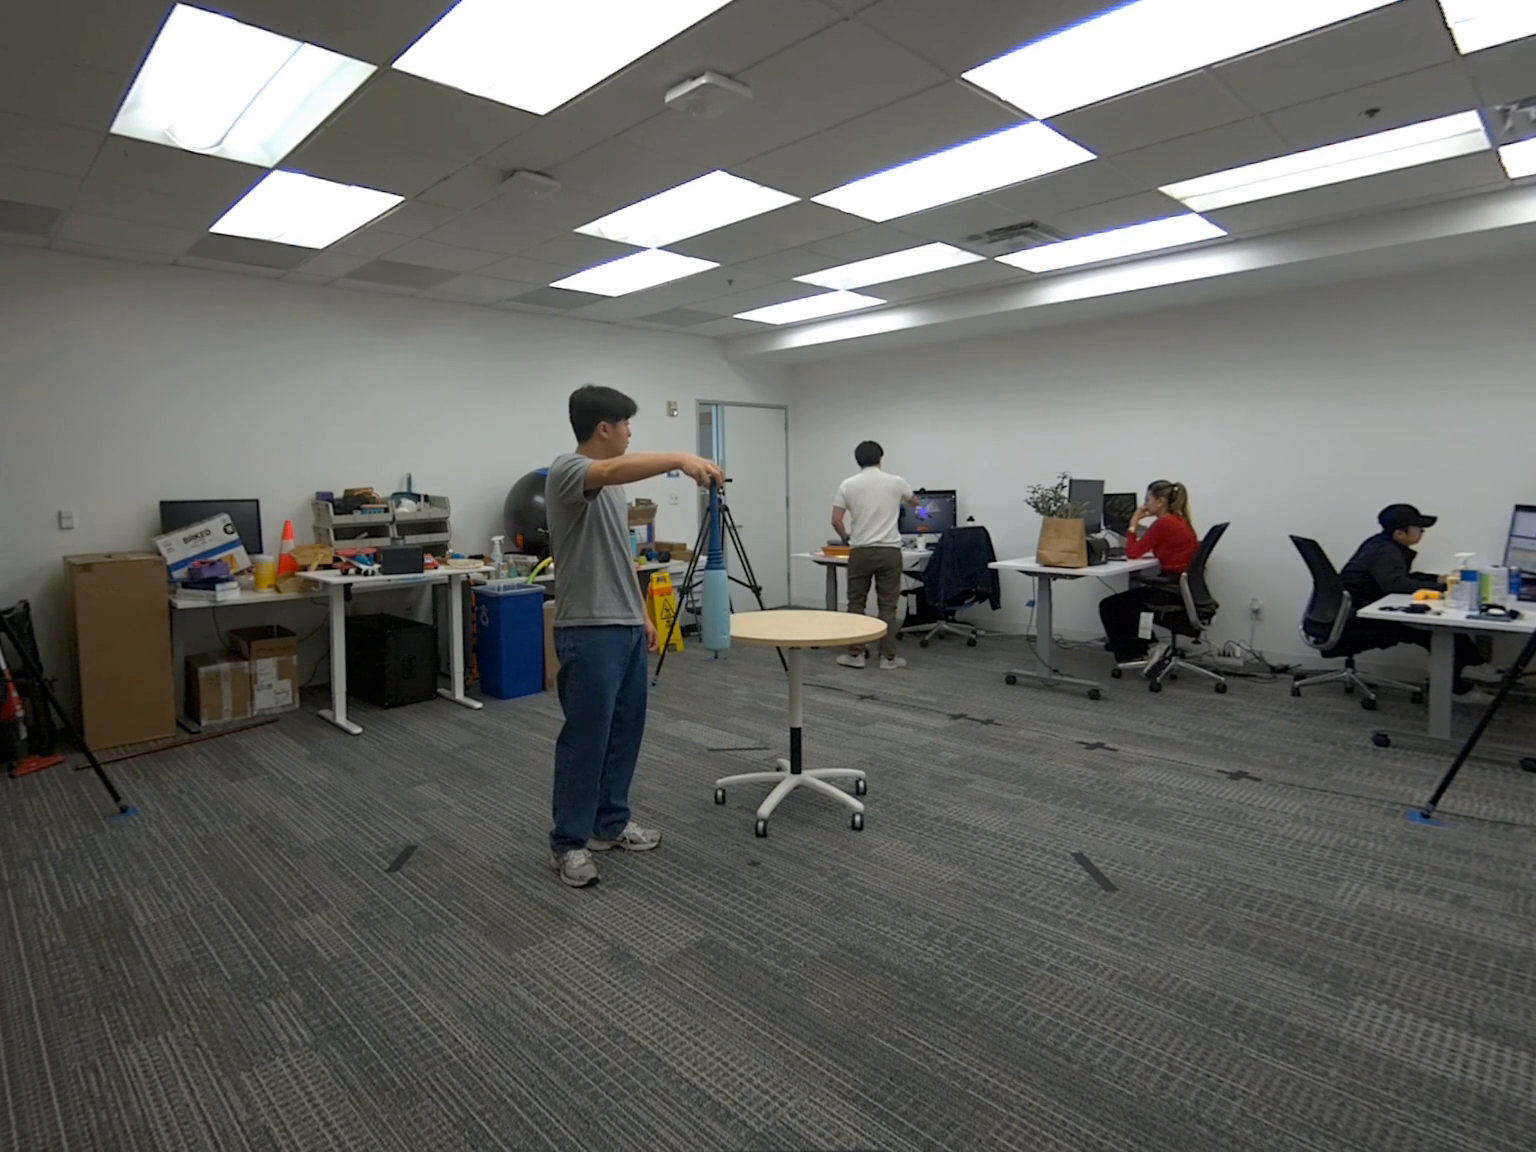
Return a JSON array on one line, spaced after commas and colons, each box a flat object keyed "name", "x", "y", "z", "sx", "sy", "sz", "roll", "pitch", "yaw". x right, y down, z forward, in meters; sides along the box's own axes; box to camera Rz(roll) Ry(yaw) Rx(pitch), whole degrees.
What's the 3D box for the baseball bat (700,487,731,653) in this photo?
[{"name": "baseball bat", "x": -0.160, "y": -0.038, "z": 2.651, "sx": 0.089, "sy": 0.542, "sz": 0.089, "roll": -1, "pitch": 1, "yaw": -2}]
